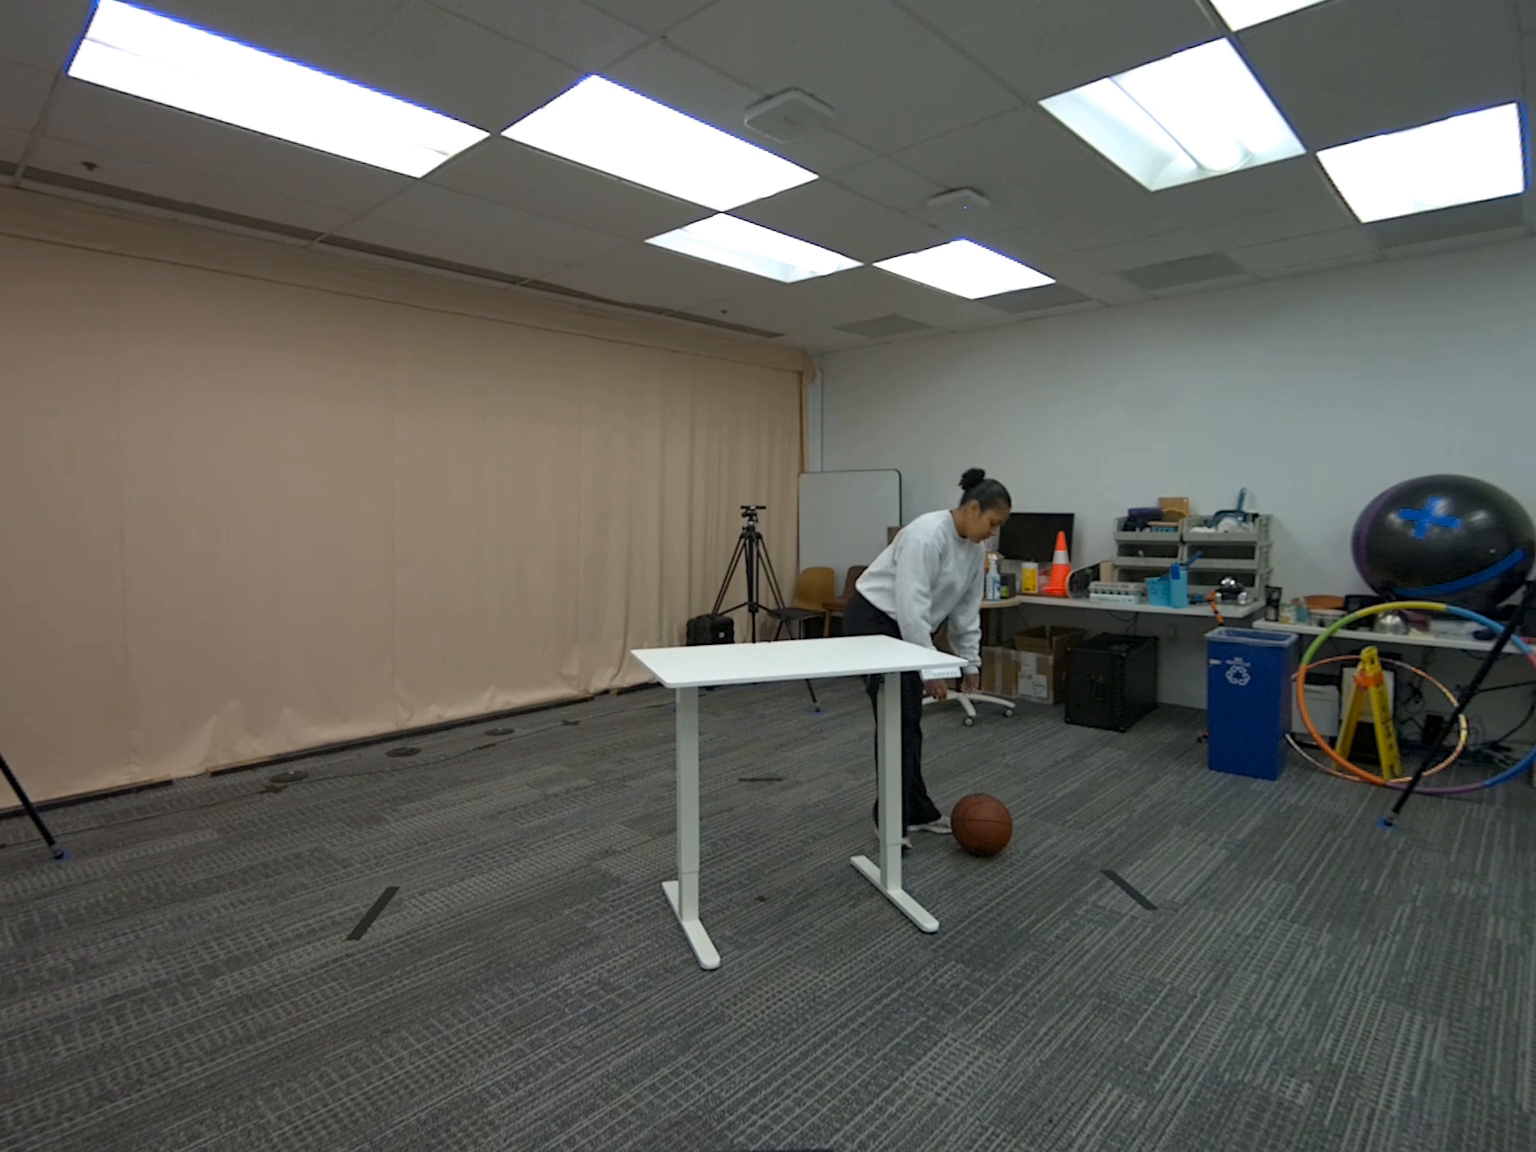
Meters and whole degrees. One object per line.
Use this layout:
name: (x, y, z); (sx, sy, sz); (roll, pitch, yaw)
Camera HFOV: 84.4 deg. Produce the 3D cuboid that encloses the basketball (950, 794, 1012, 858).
basketball: (0.859, 0.991, 3.366); (0.236, 0.235, 0.237); (0, 4, -2)
